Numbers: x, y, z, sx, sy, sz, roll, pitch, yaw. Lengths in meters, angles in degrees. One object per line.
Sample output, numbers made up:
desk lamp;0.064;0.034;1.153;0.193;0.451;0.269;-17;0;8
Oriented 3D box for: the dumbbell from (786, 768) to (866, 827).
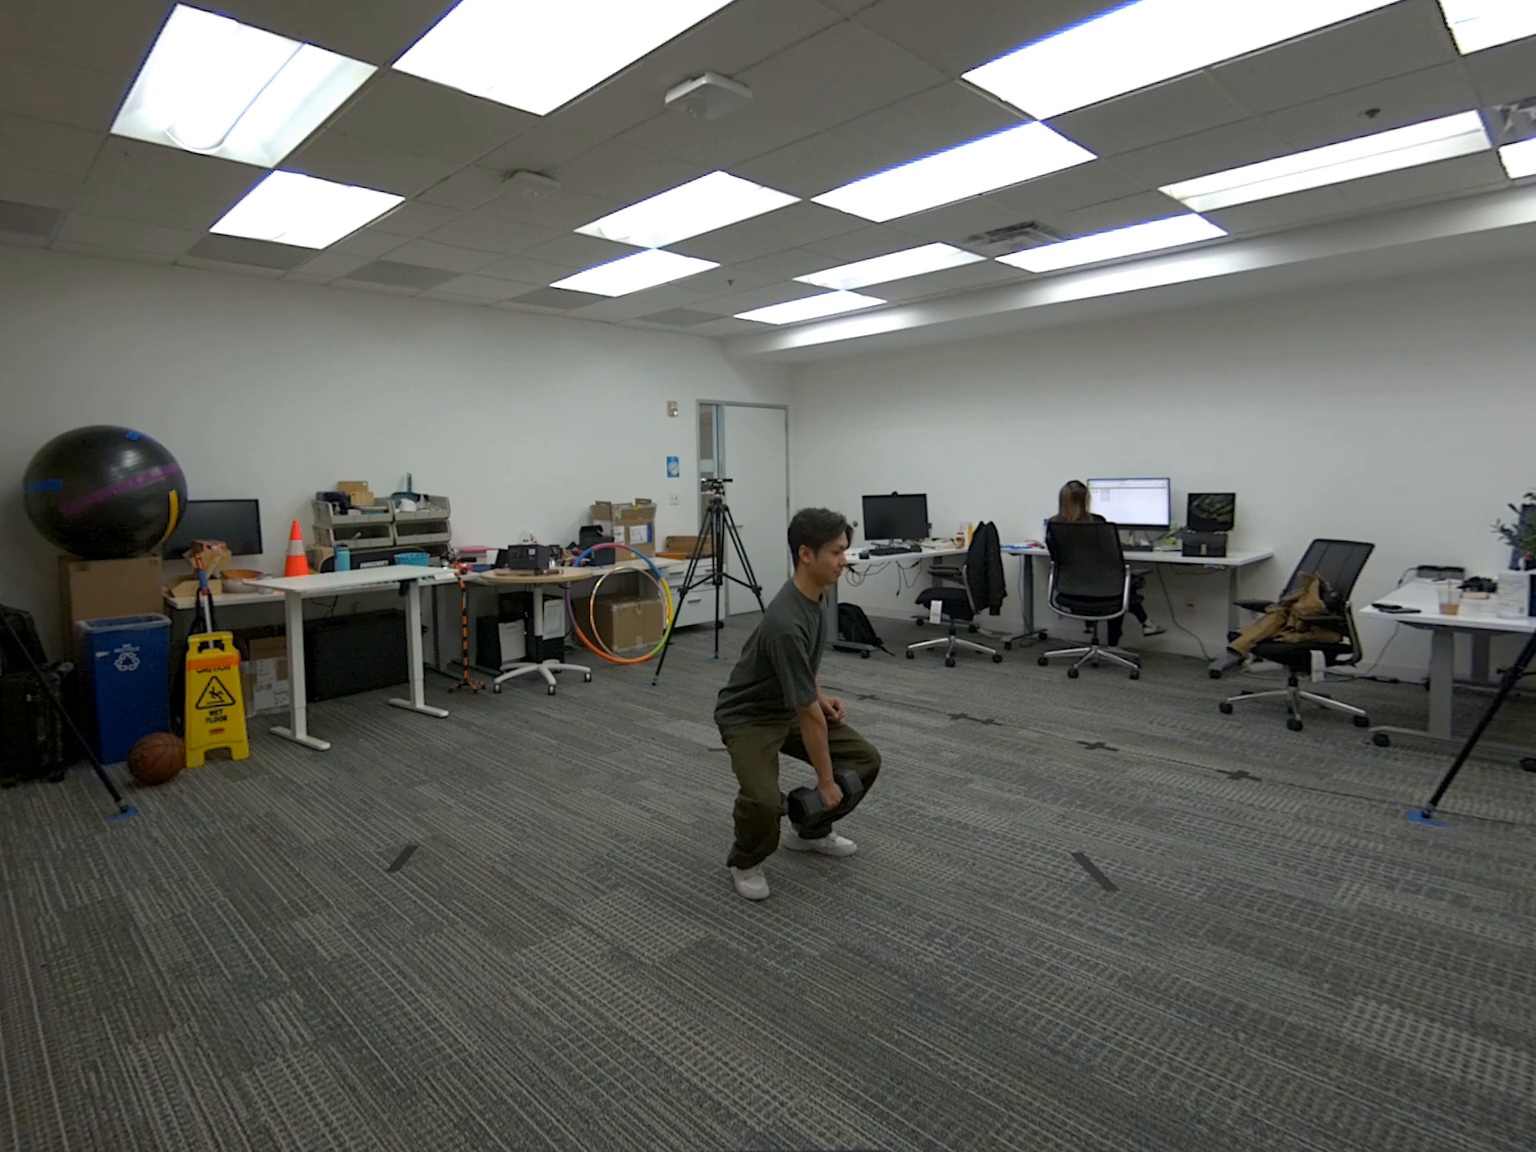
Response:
dumbbell;0.188;0.748;2.907;0.287;0.121;0.113;-13;42;-42
